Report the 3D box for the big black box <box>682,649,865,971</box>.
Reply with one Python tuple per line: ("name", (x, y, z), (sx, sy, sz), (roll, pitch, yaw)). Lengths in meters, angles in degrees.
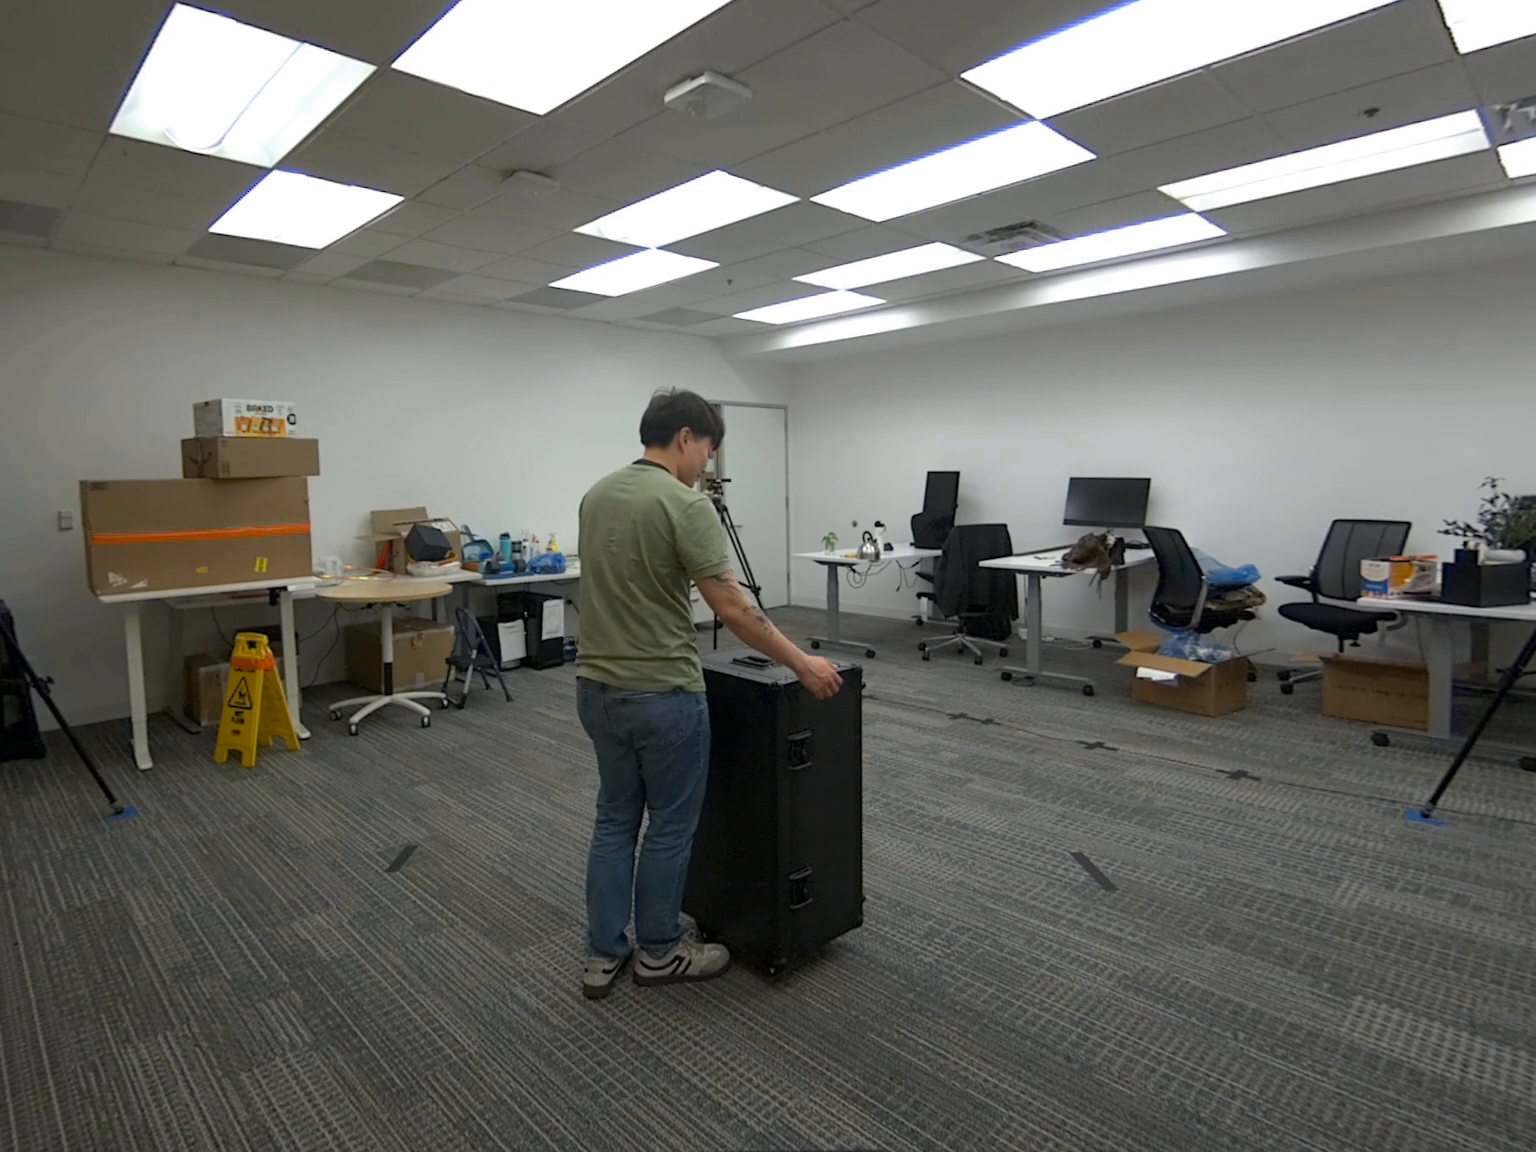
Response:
("big black box", (-0.004, 0.677, 2.590), (0.385, 0.859, 0.537), (-4, 5, -42))
